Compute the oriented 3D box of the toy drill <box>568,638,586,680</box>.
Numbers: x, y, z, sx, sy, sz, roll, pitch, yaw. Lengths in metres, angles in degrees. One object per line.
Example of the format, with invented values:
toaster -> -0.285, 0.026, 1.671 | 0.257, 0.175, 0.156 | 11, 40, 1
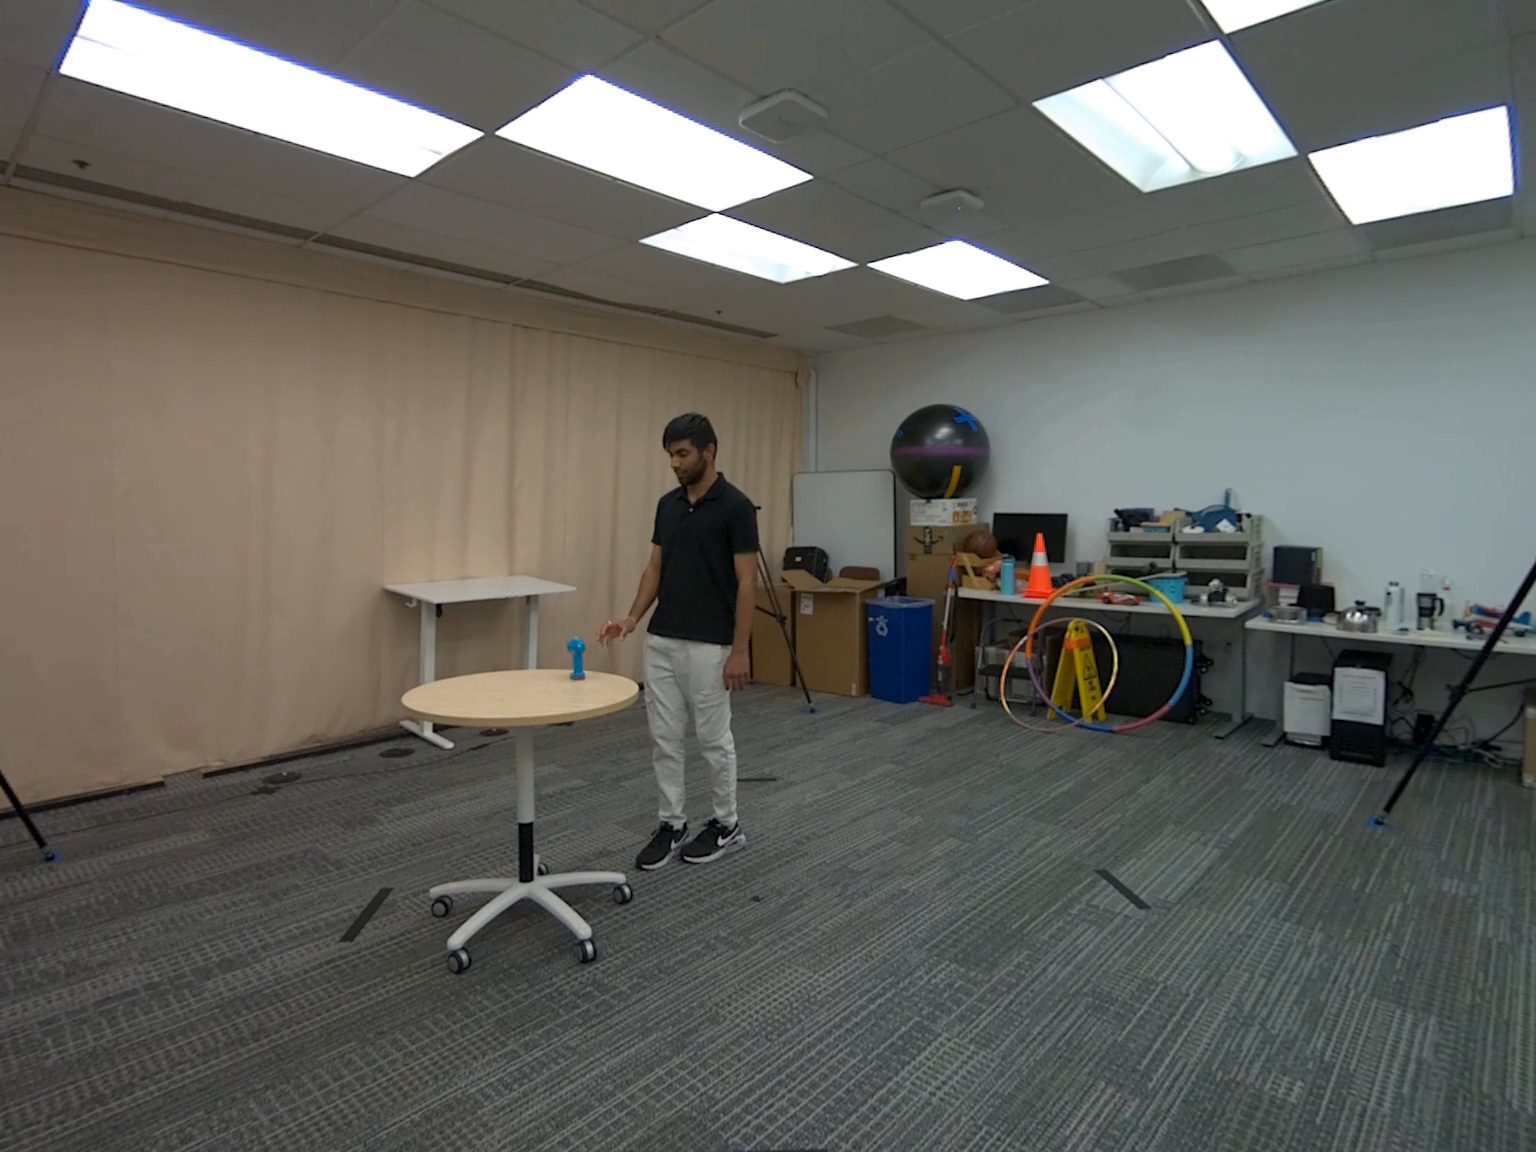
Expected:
toy drill -> -0.696, 0.291, 3.046 | 0.060, 0.146, 0.174 | -4, 4, -23
